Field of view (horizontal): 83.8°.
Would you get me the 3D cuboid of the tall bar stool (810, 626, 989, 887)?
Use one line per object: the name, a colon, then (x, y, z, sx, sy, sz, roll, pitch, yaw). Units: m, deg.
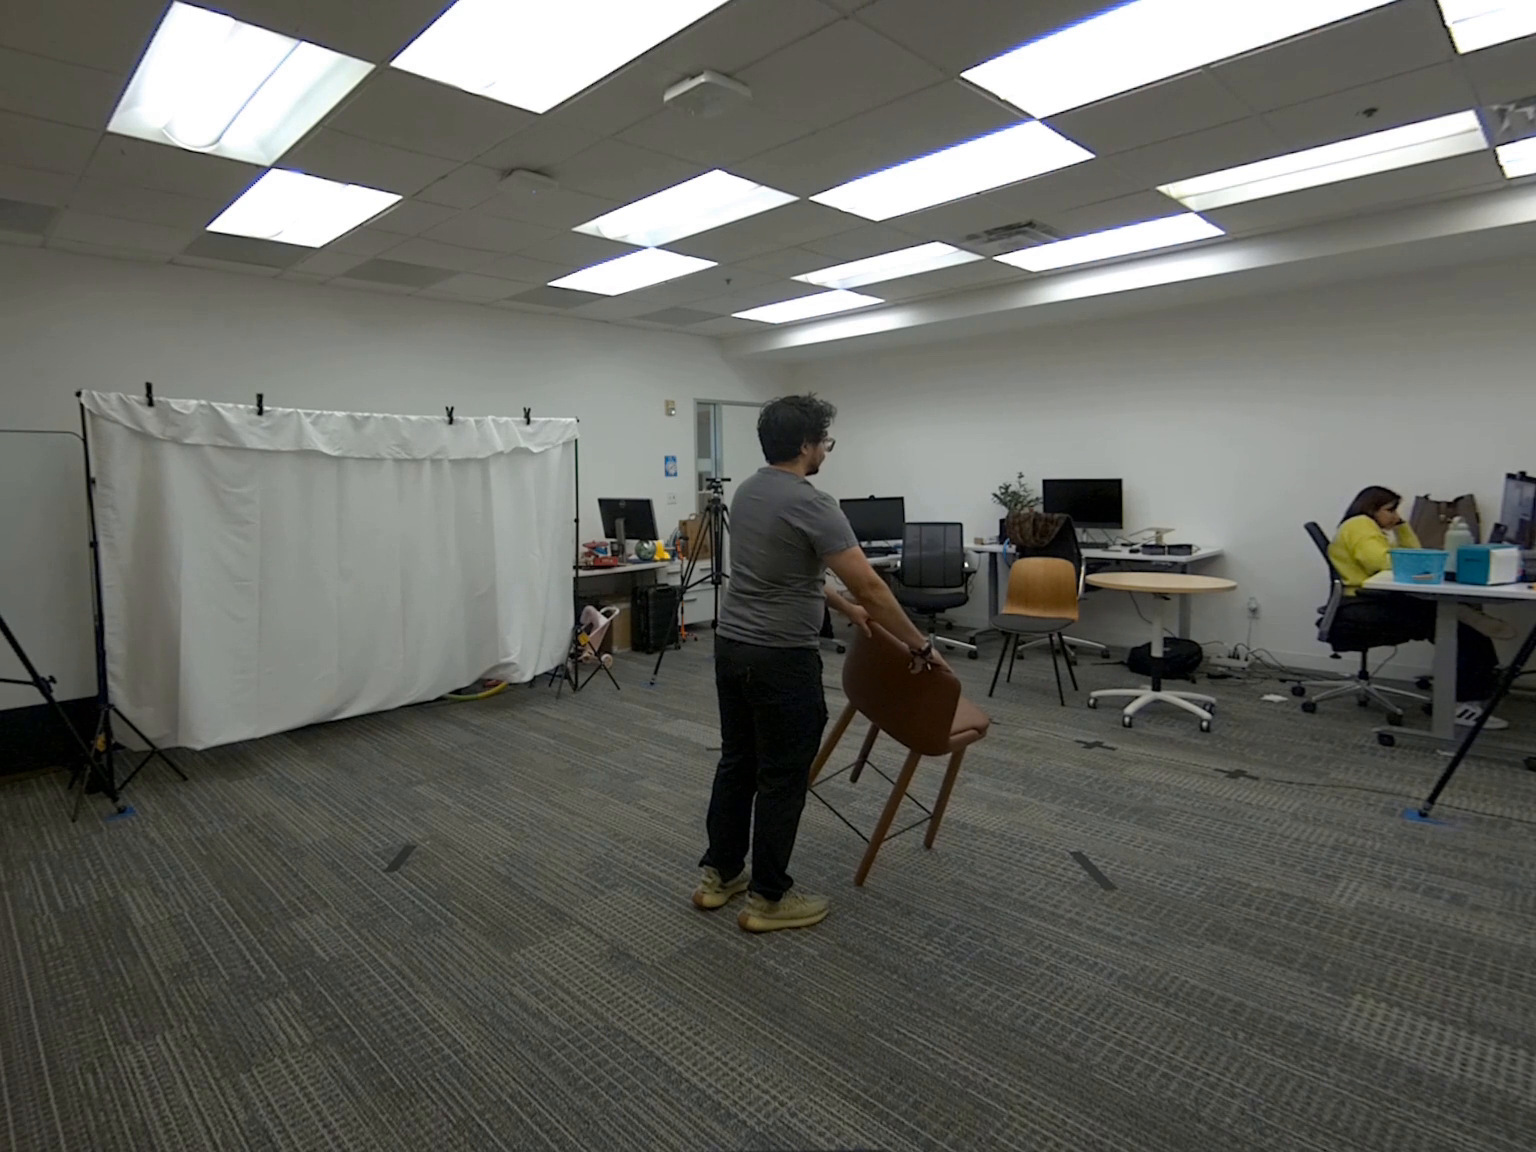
tall bar stool: (0.457, 0.569, 3.015, 0.456, 0.878, 0.474, -9, 35, -45)
